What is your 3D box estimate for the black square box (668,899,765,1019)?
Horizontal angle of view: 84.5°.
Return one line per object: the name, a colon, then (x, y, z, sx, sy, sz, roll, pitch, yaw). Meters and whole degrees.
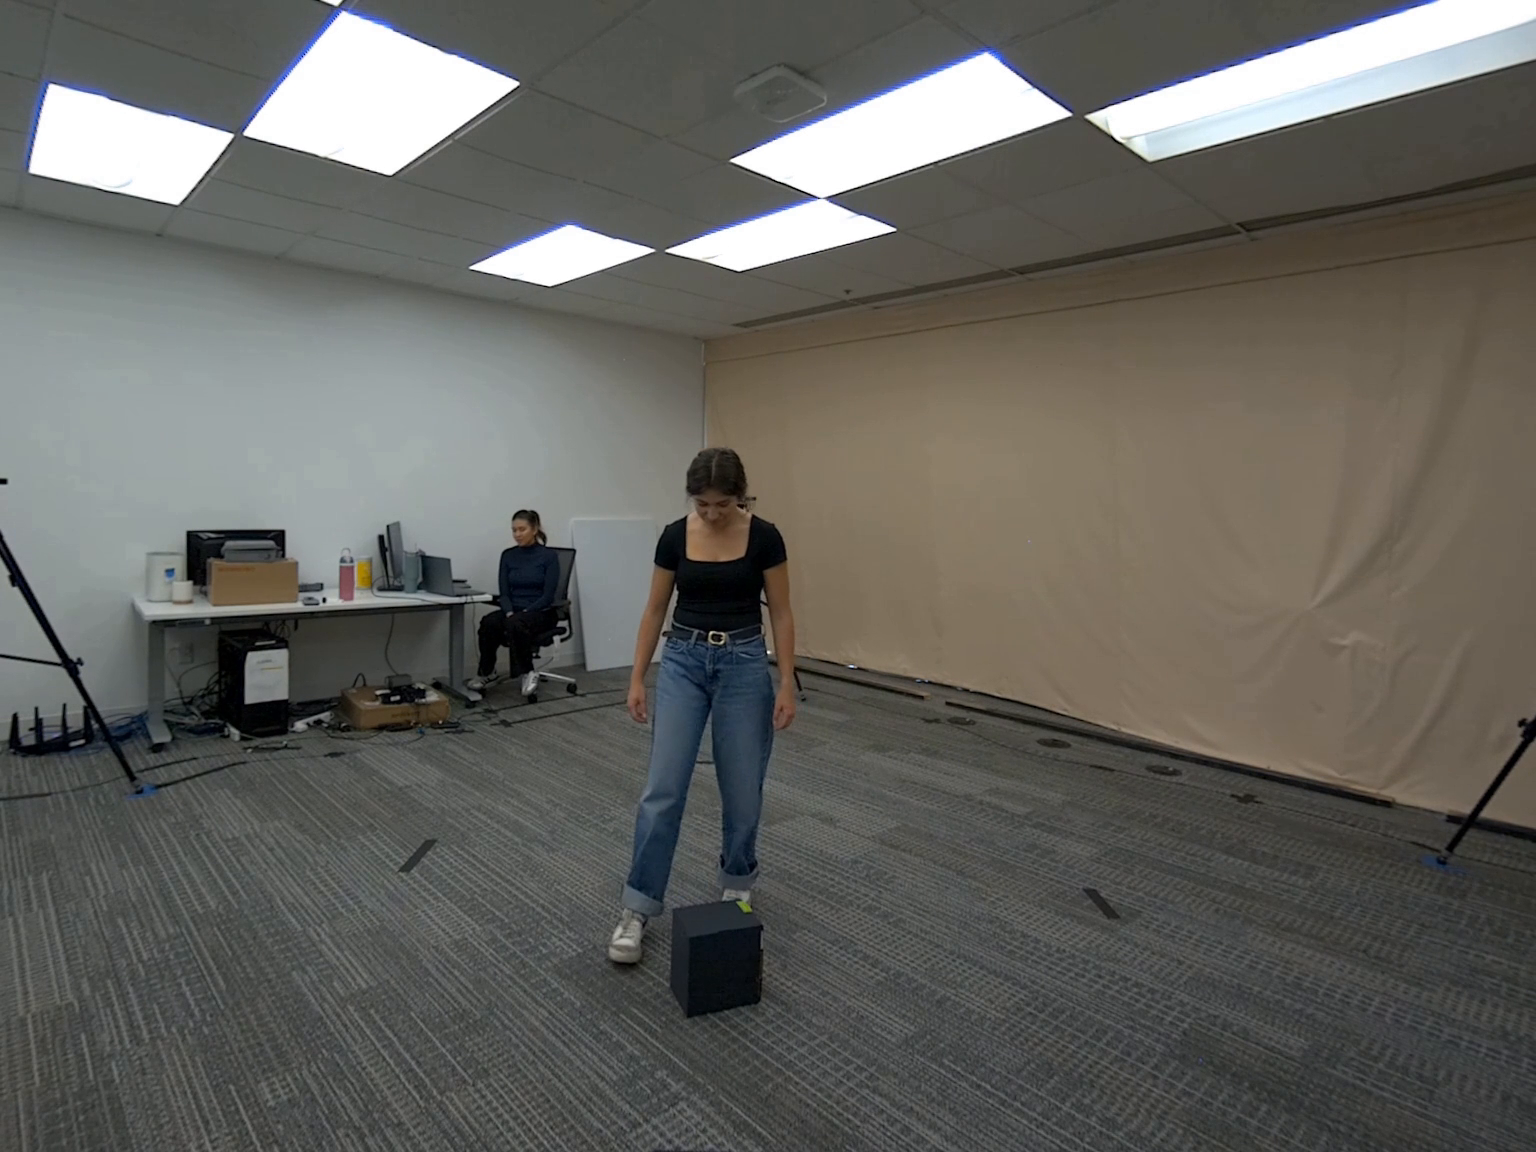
black square box: (-0.152, 1.058, 2.344, 0.213, 0.227, 0.159, 1, 4, -23)
